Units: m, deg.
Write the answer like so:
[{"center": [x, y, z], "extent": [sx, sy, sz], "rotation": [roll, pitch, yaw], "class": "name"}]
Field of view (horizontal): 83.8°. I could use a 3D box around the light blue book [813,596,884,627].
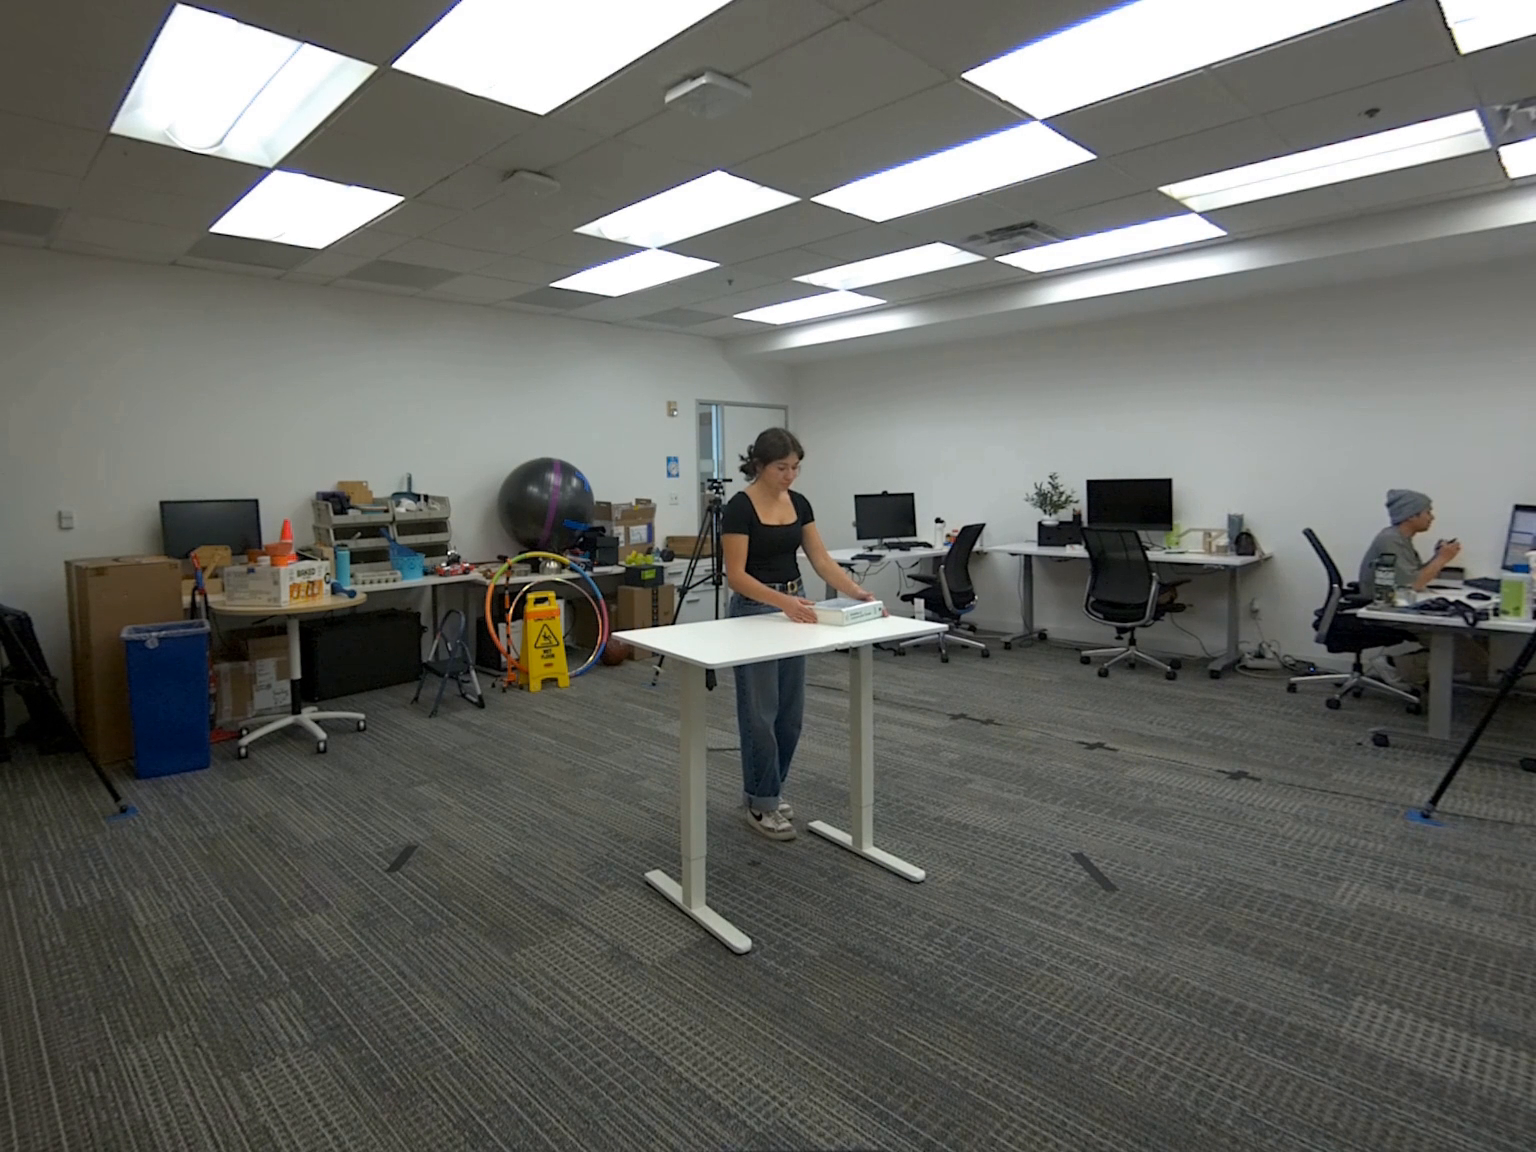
[{"center": [0.273, 0.133, 3.108], "extent": [0.197, 0.059, 0.254], "rotation": [3, 6, 39], "class": "light blue book"}]
